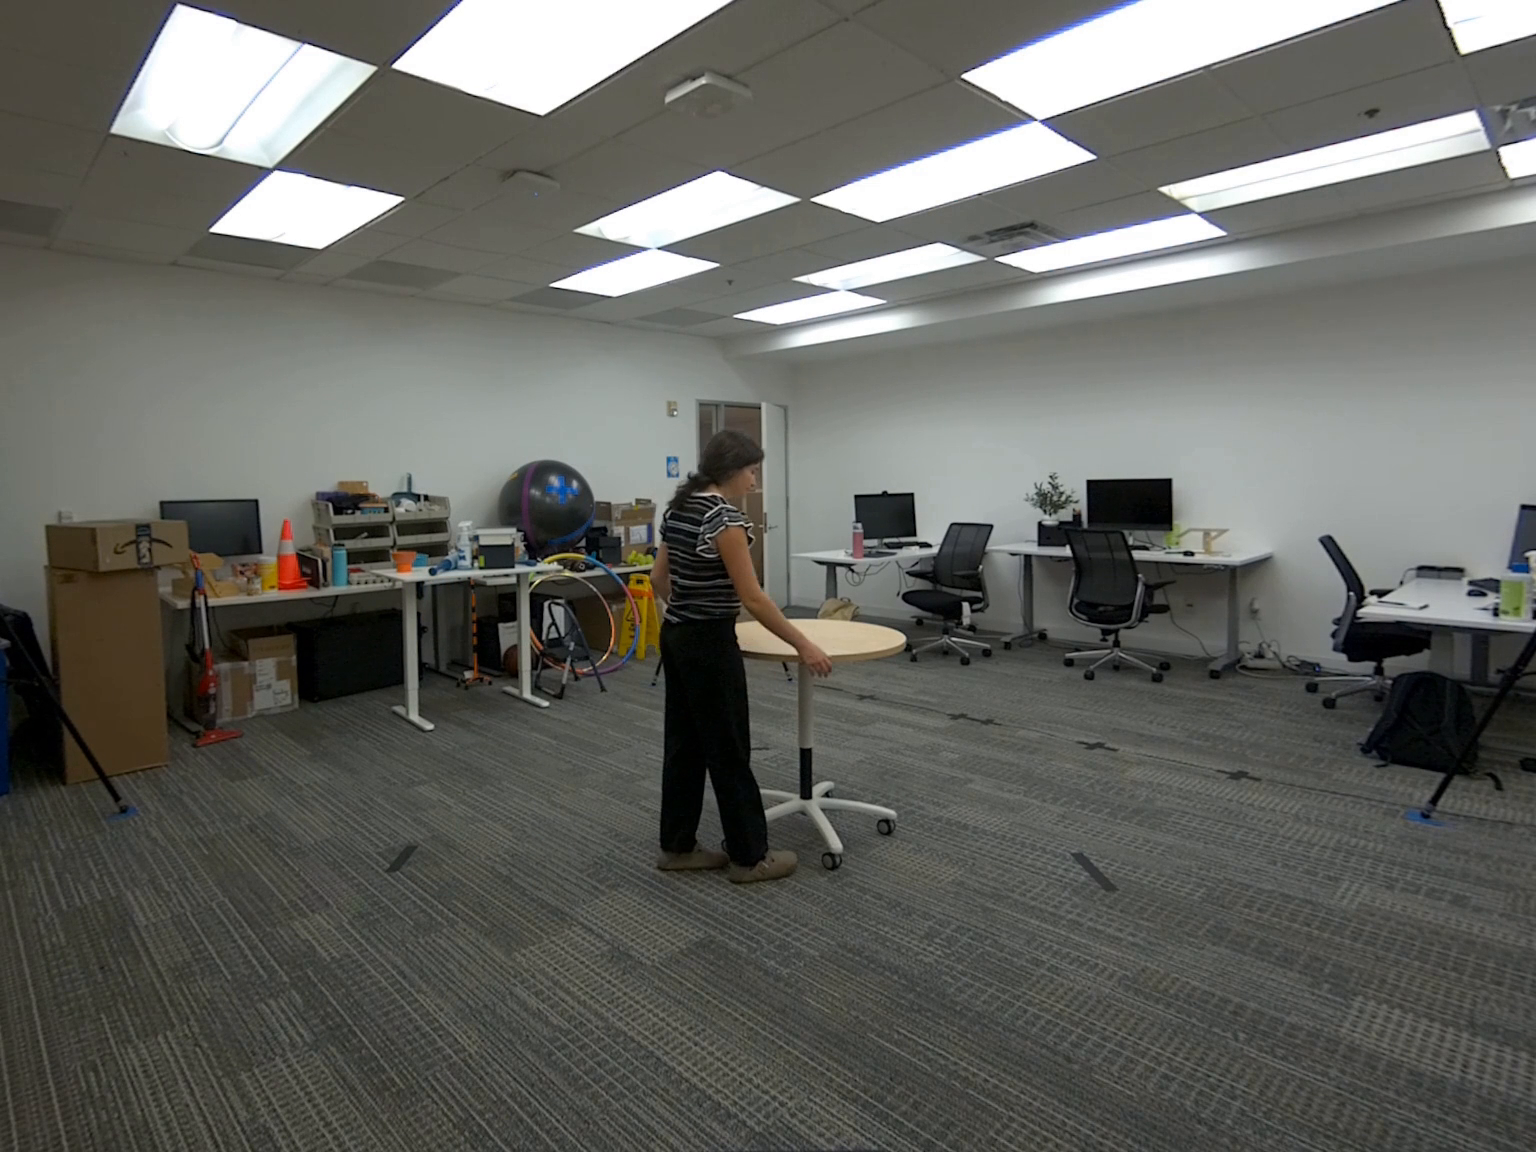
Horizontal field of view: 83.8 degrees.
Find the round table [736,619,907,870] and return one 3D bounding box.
[{"bbox_3d":[0.143,0.619,3.334,0.784,0.784,0.789,-1,4,-2],"label":"round table"}]
